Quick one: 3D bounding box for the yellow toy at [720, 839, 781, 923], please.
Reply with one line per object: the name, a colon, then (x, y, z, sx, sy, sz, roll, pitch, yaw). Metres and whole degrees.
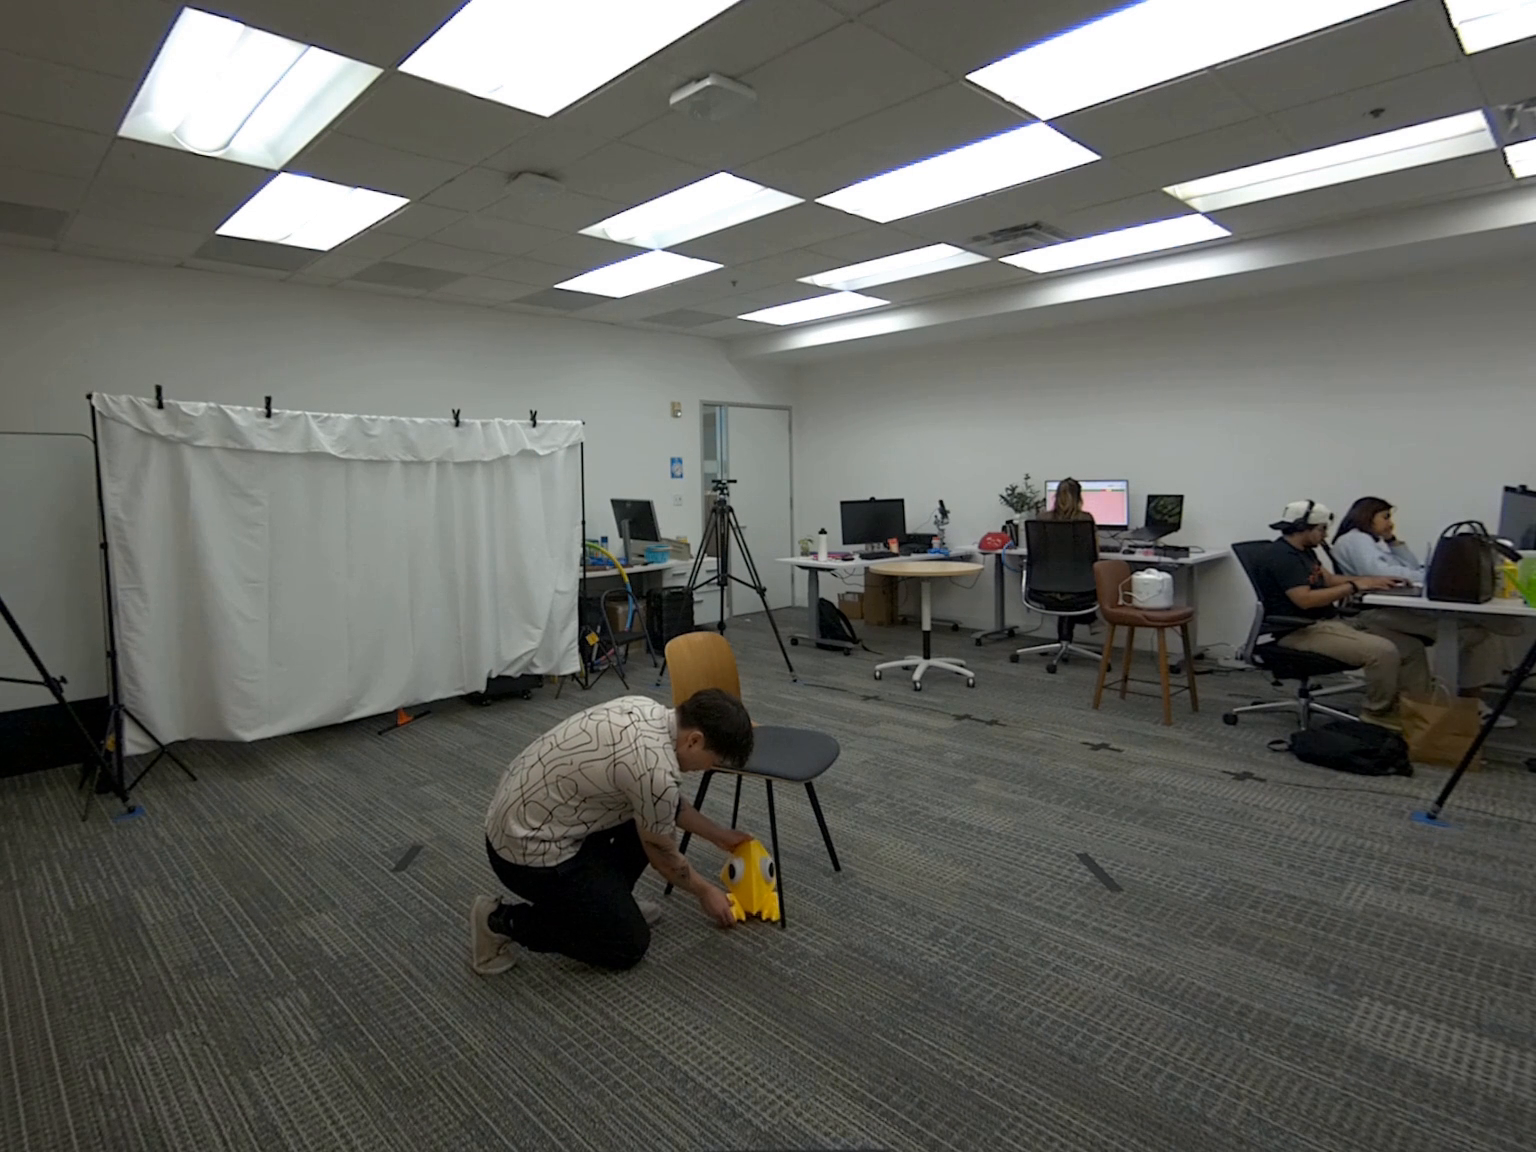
yellow toy: (-0.051, 0.969, 2.764, 0.204, 0.230, 0.194, -2, 1, -4)
